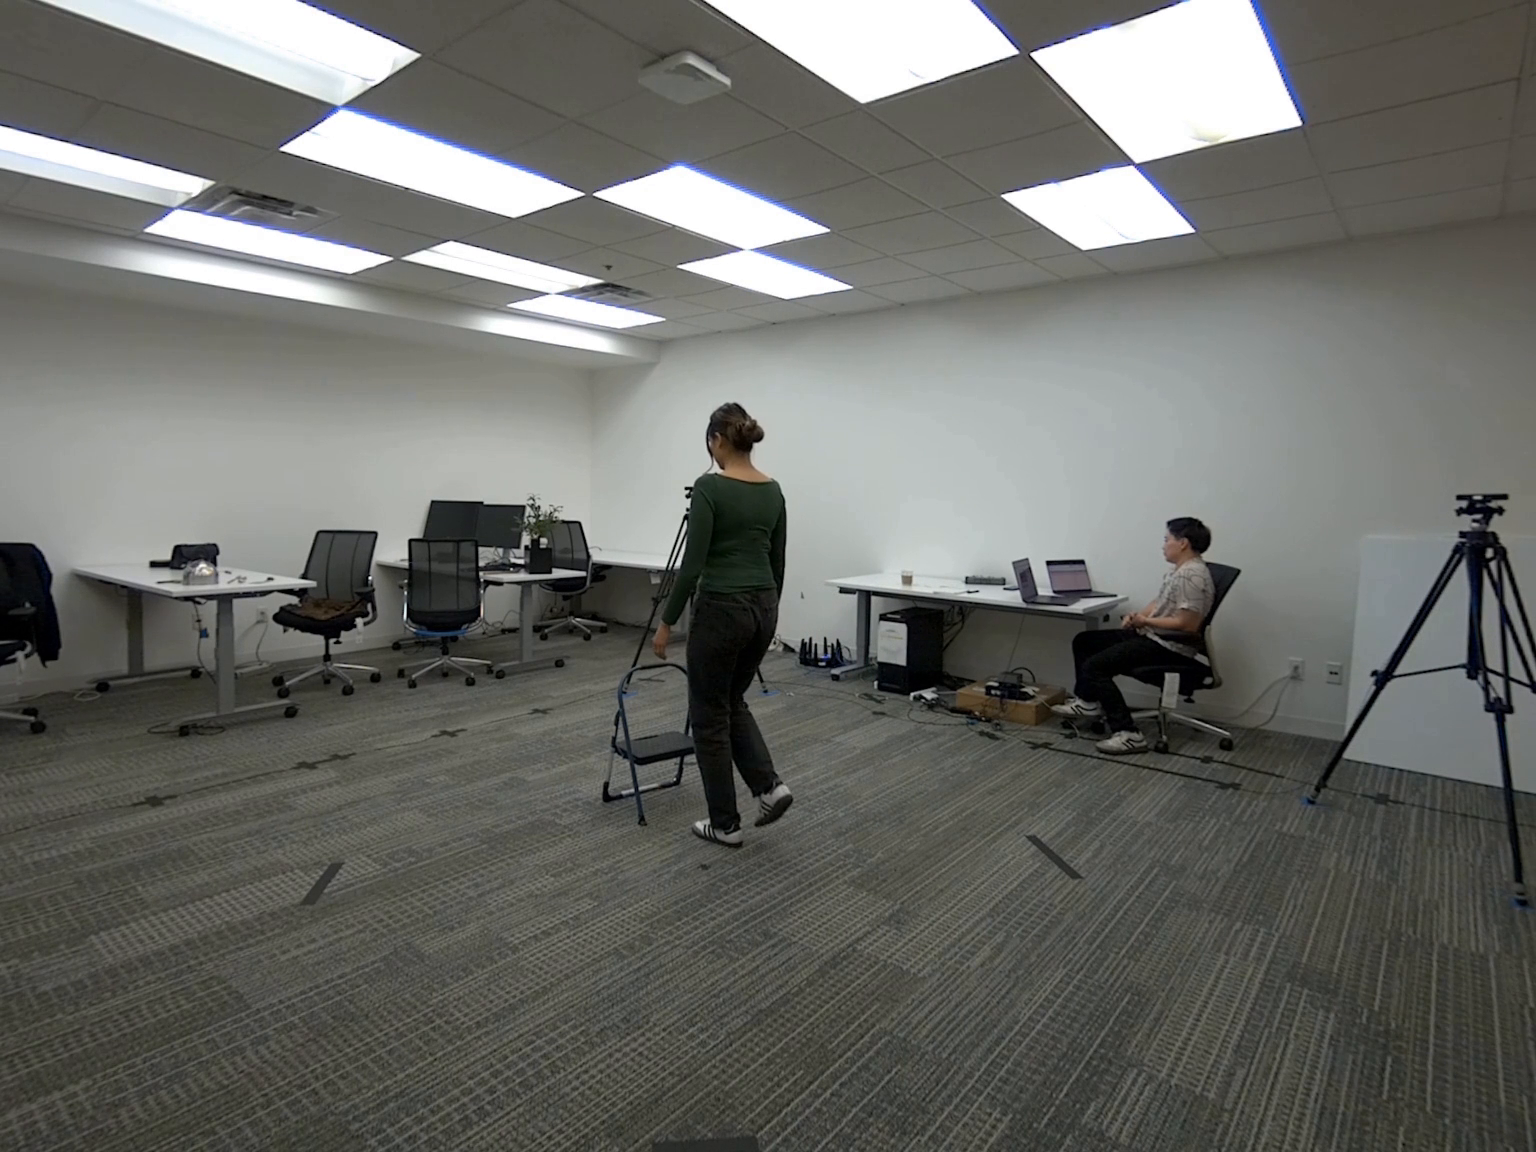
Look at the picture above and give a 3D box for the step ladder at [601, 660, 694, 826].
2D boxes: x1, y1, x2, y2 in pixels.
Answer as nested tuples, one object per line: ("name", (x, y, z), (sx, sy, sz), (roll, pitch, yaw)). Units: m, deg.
("step ladder", (-0.478, 0.696, 3.739), (0.418, 0.604, 0.361), (-2, 4, -40))
